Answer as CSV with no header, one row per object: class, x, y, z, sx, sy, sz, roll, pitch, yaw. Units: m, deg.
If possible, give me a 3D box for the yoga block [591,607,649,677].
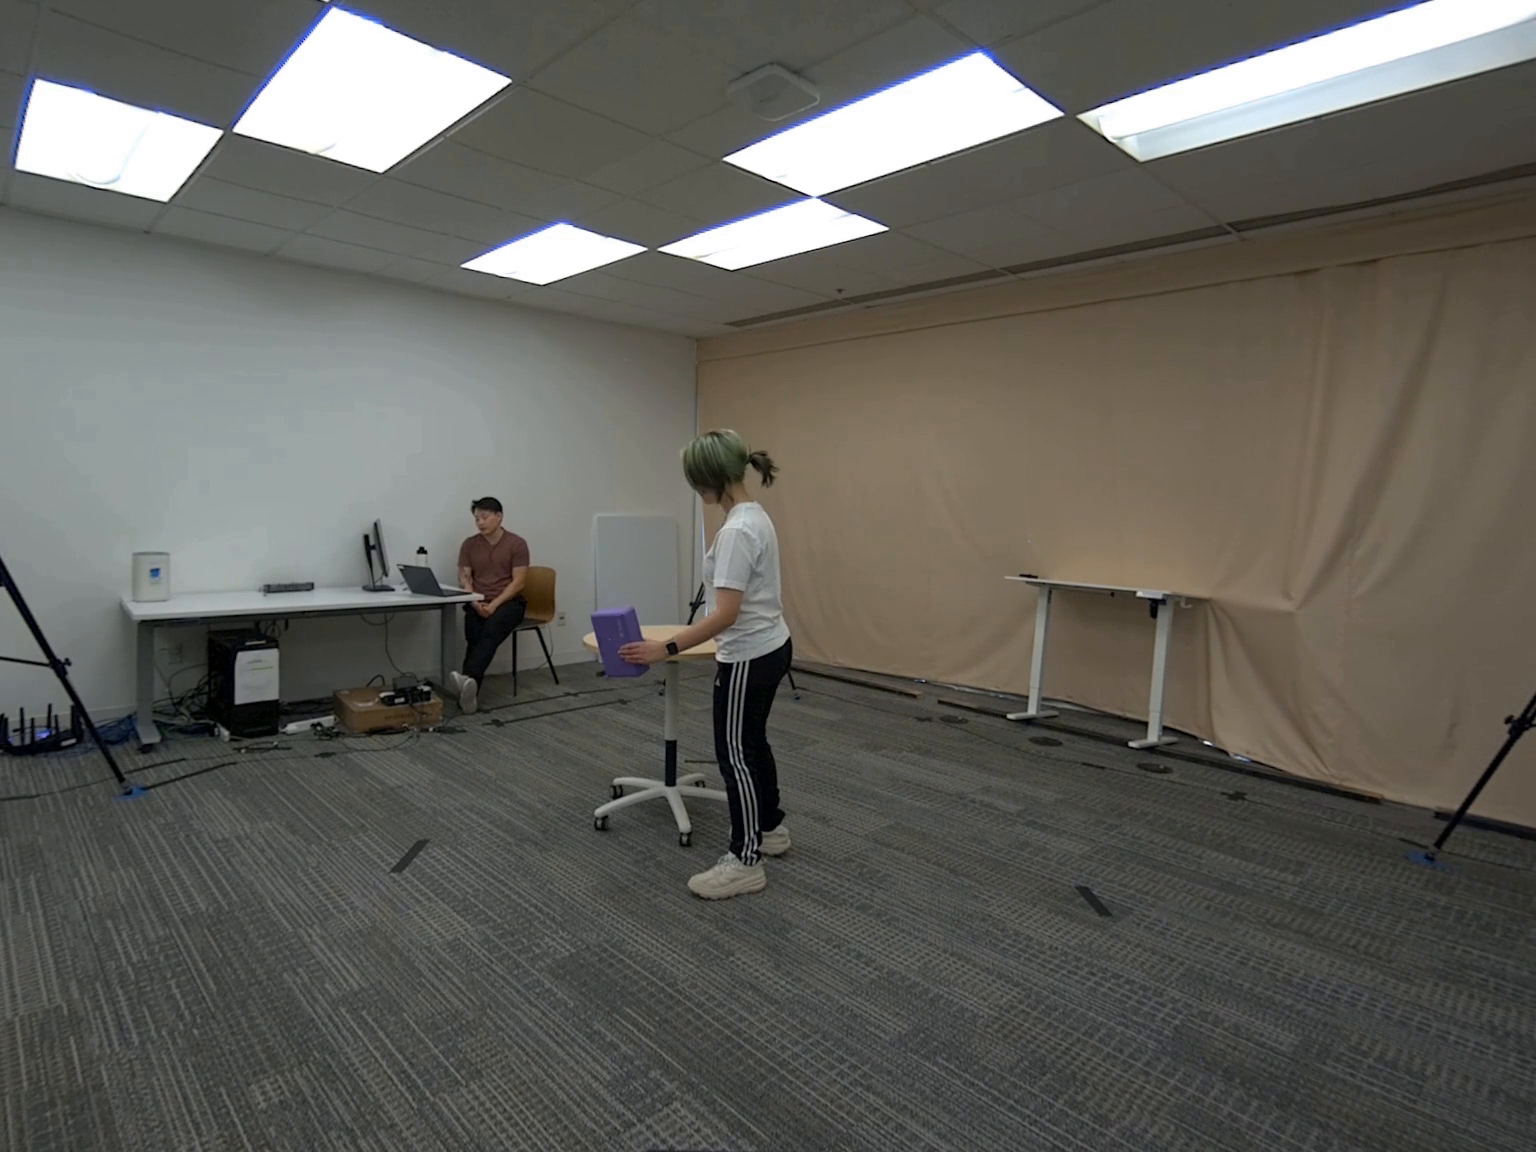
yoga block,-0.502,0.220,2.844,0.151,0.228,0.076,-8,7,20
